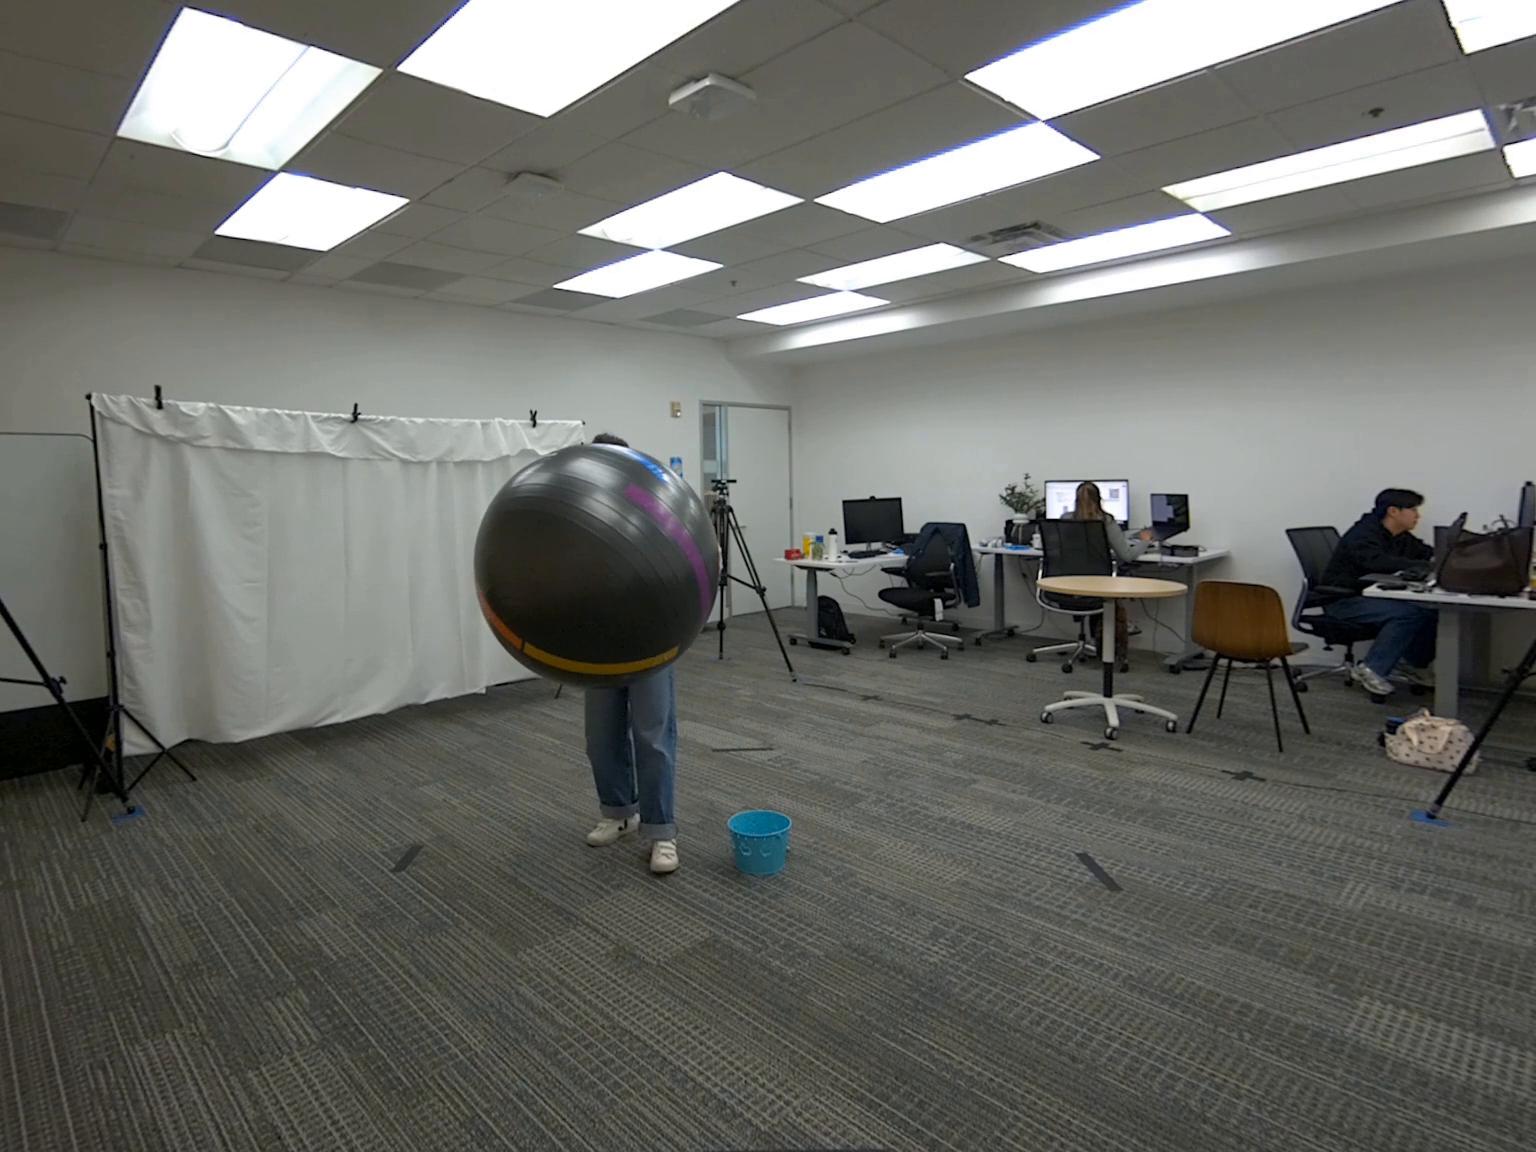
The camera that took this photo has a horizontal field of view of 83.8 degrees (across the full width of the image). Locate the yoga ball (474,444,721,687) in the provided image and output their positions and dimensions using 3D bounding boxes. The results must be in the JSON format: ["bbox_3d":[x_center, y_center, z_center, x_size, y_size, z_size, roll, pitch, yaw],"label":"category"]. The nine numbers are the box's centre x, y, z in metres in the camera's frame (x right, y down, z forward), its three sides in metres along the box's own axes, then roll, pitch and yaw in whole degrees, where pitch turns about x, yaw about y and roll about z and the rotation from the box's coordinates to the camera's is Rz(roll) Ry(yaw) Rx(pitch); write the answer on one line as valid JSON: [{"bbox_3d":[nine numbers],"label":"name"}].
[{"bbox_3d":[-0.531,-0.024,2.664,0.757,0.755,0.762,-1,5,-2],"label":"yoga ball"}]
